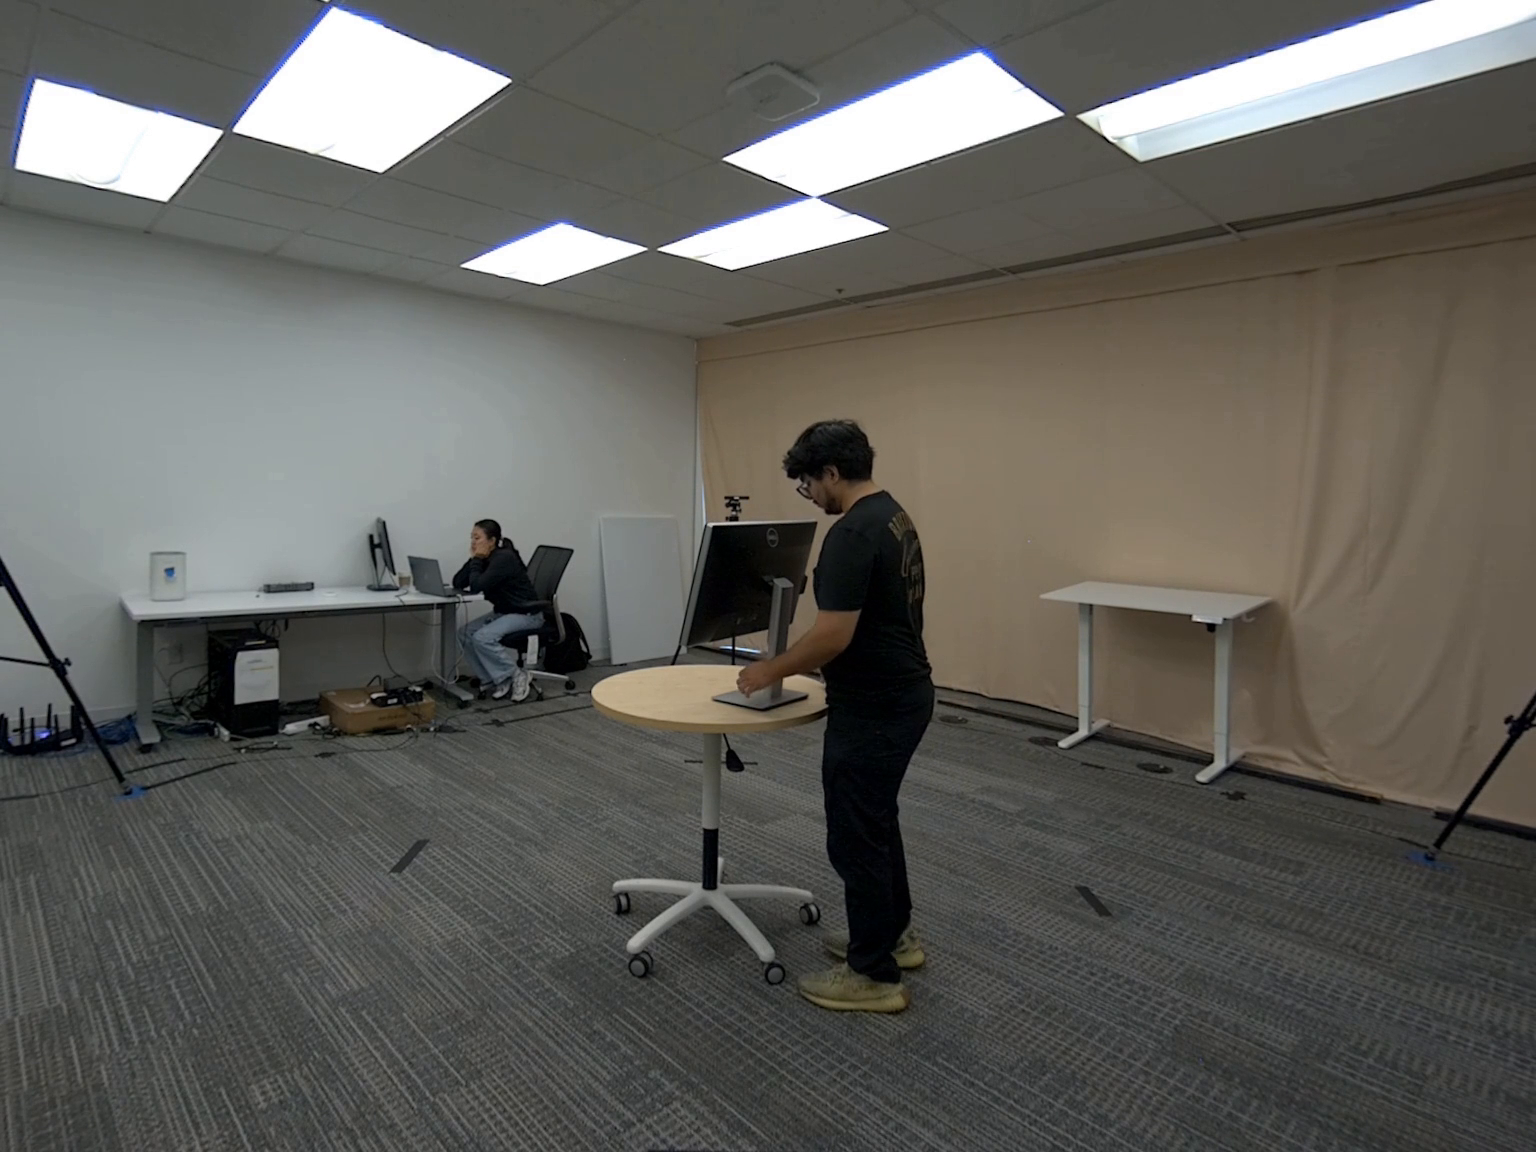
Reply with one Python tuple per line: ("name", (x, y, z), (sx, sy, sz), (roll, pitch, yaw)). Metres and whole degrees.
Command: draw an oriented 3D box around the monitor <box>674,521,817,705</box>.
("monitor", (0.003, 0.113, 2.529), (0.216, 0.551, 0.553), (12, 10, 34))
